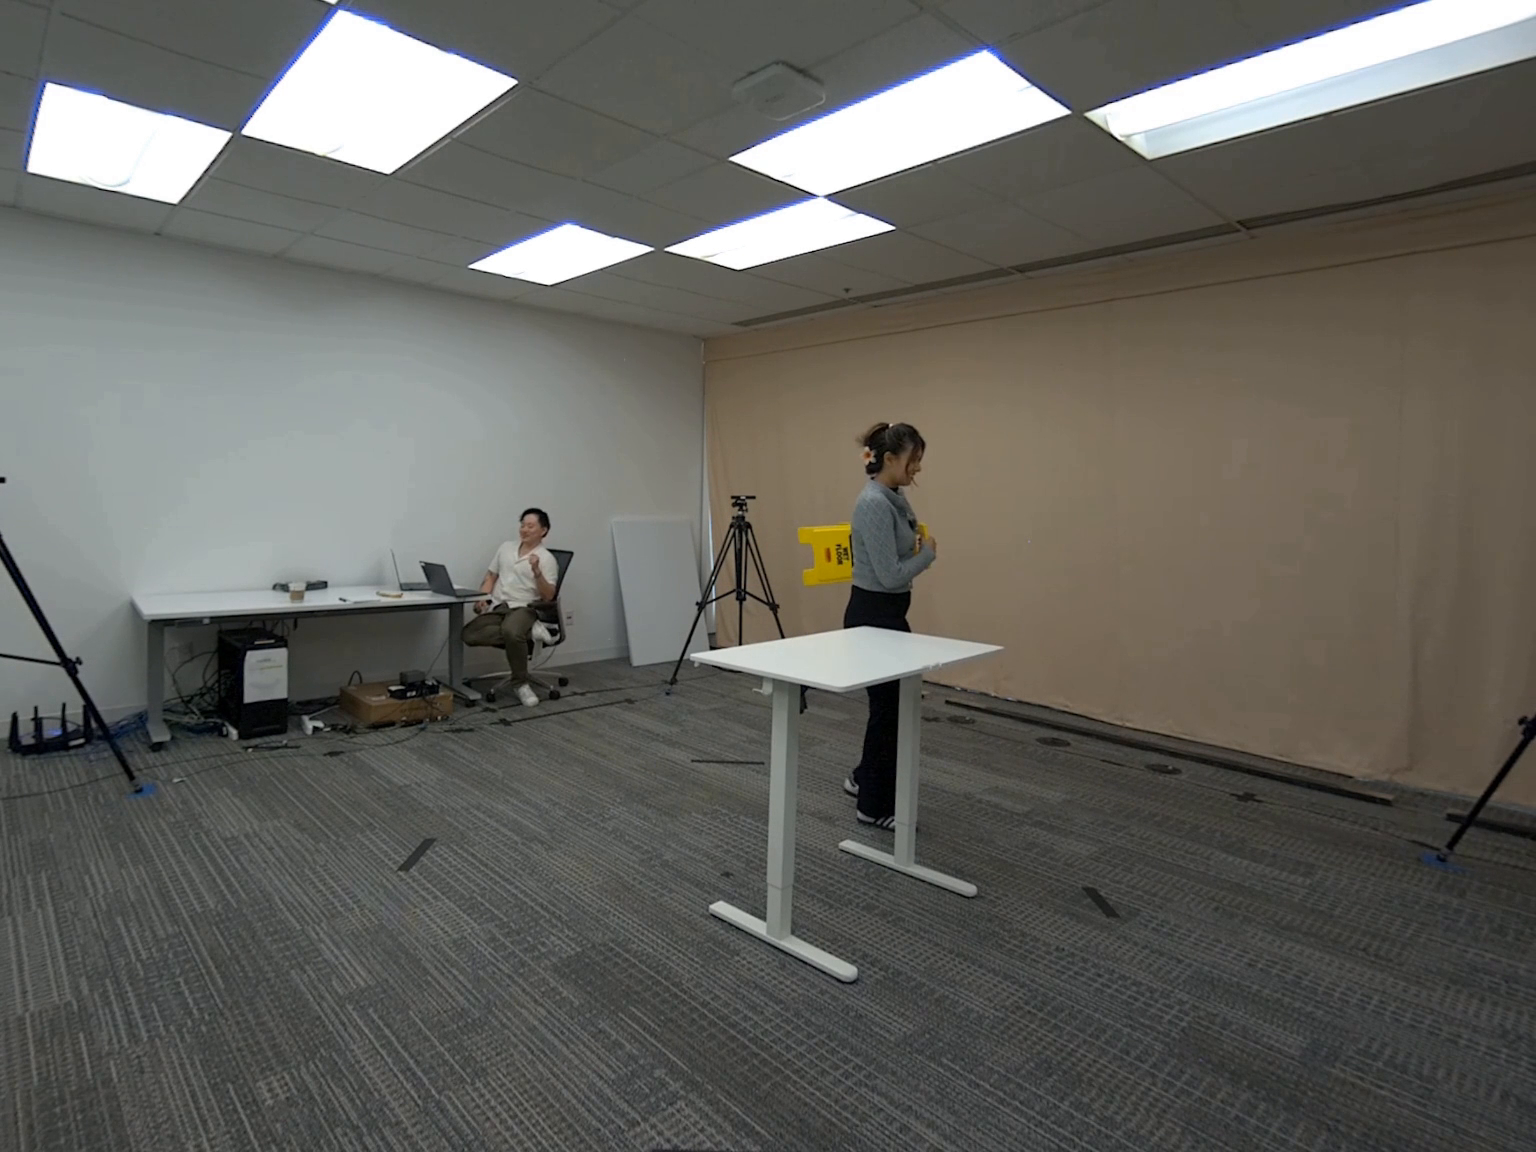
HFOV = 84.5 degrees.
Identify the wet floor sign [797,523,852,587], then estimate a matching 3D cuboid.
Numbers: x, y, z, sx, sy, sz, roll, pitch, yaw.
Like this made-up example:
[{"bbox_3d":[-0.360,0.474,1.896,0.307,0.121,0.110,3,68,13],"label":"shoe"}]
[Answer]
[{"bbox_3d":[0.466,-0.115,3.853,0.284,0.282,0.660,-7,2,-41],"label":"wet floor sign"}]
